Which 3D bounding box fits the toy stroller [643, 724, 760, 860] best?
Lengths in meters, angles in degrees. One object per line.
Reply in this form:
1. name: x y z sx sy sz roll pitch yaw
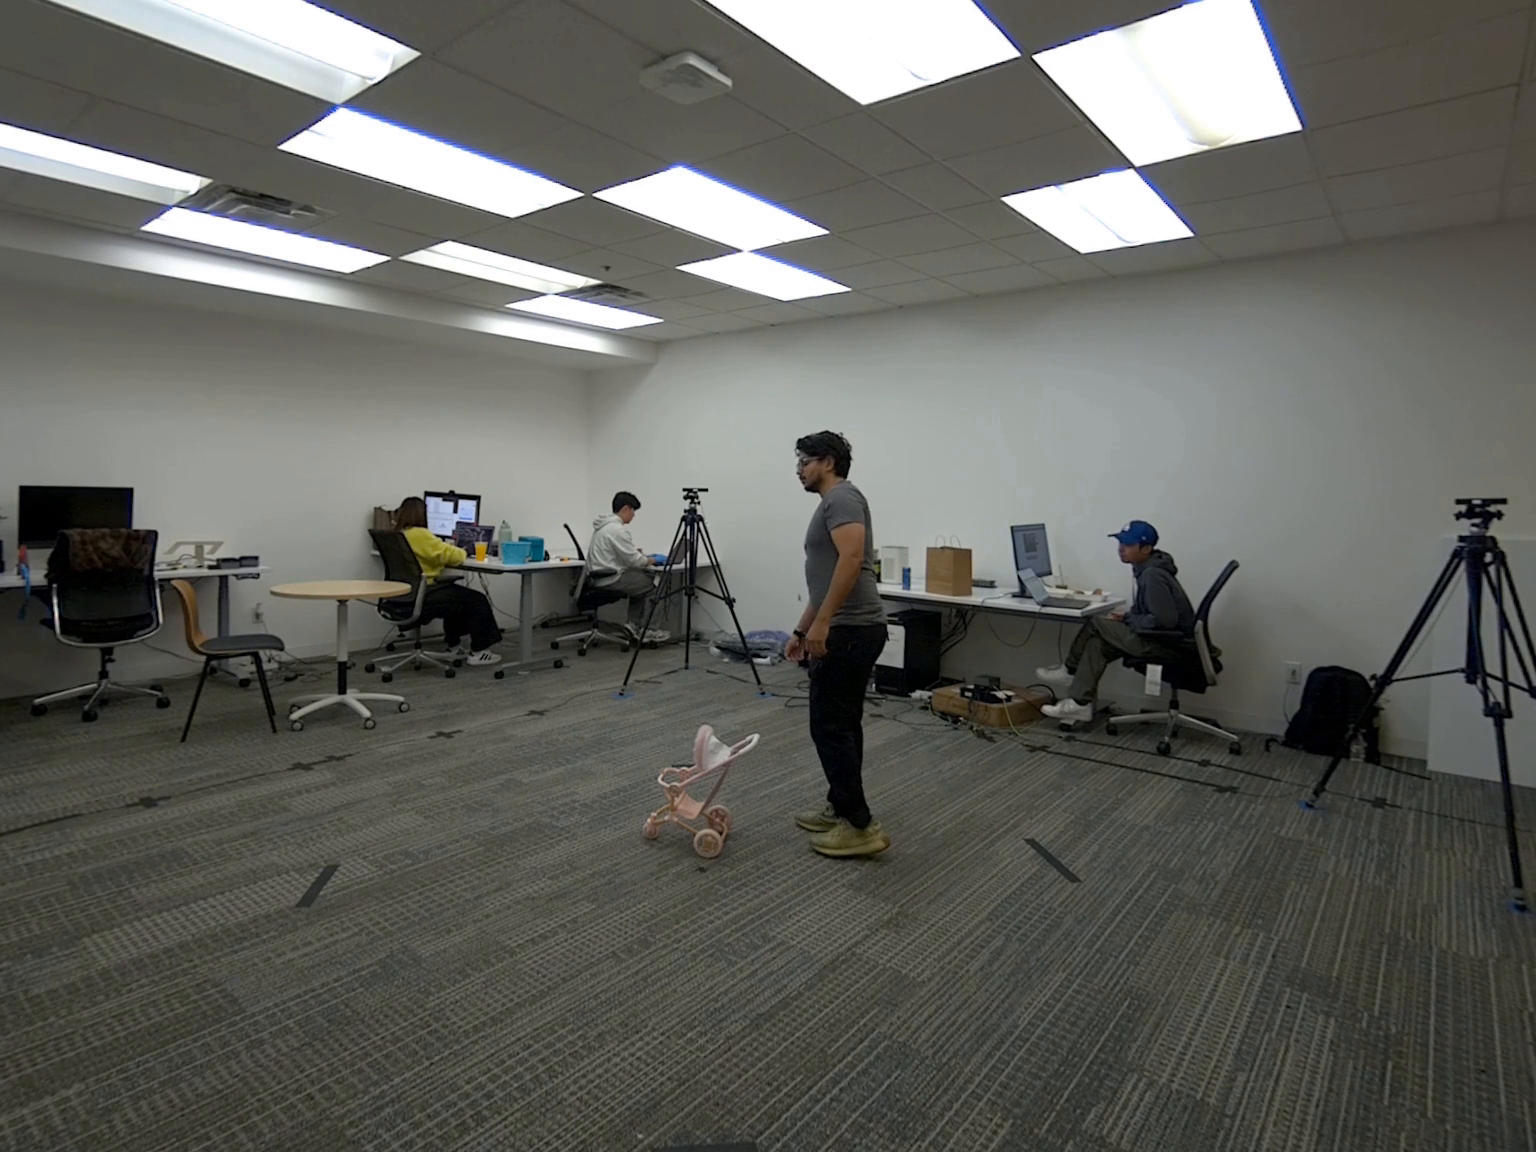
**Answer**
1. toy stroller: -0.282 0.826 3.340 0.347 0.533 0.278 18 6 12
